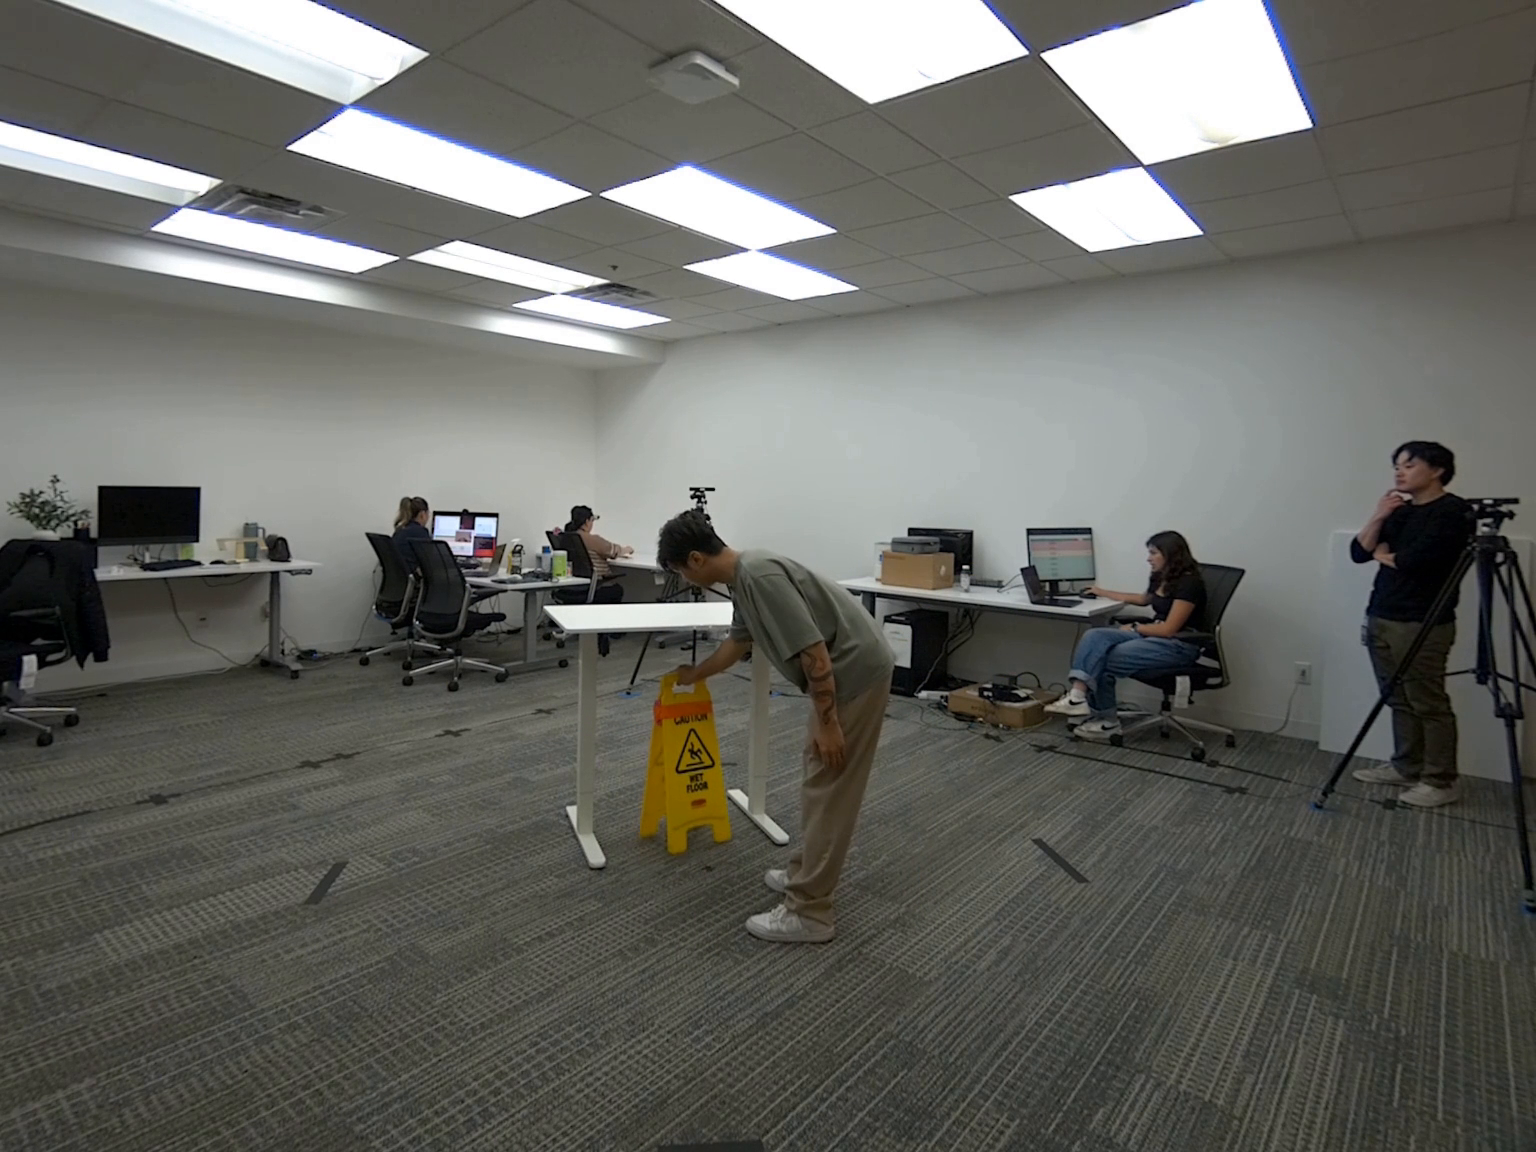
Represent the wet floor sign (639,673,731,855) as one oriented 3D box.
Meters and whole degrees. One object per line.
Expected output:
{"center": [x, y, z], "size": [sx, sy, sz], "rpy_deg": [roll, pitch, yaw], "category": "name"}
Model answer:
{"center": [-0.344, 0.701, 3.341], "size": [0.274, 0.646, 0.298], "rpy_deg": [1, -1, -35], "category": "wet floor sign"}
